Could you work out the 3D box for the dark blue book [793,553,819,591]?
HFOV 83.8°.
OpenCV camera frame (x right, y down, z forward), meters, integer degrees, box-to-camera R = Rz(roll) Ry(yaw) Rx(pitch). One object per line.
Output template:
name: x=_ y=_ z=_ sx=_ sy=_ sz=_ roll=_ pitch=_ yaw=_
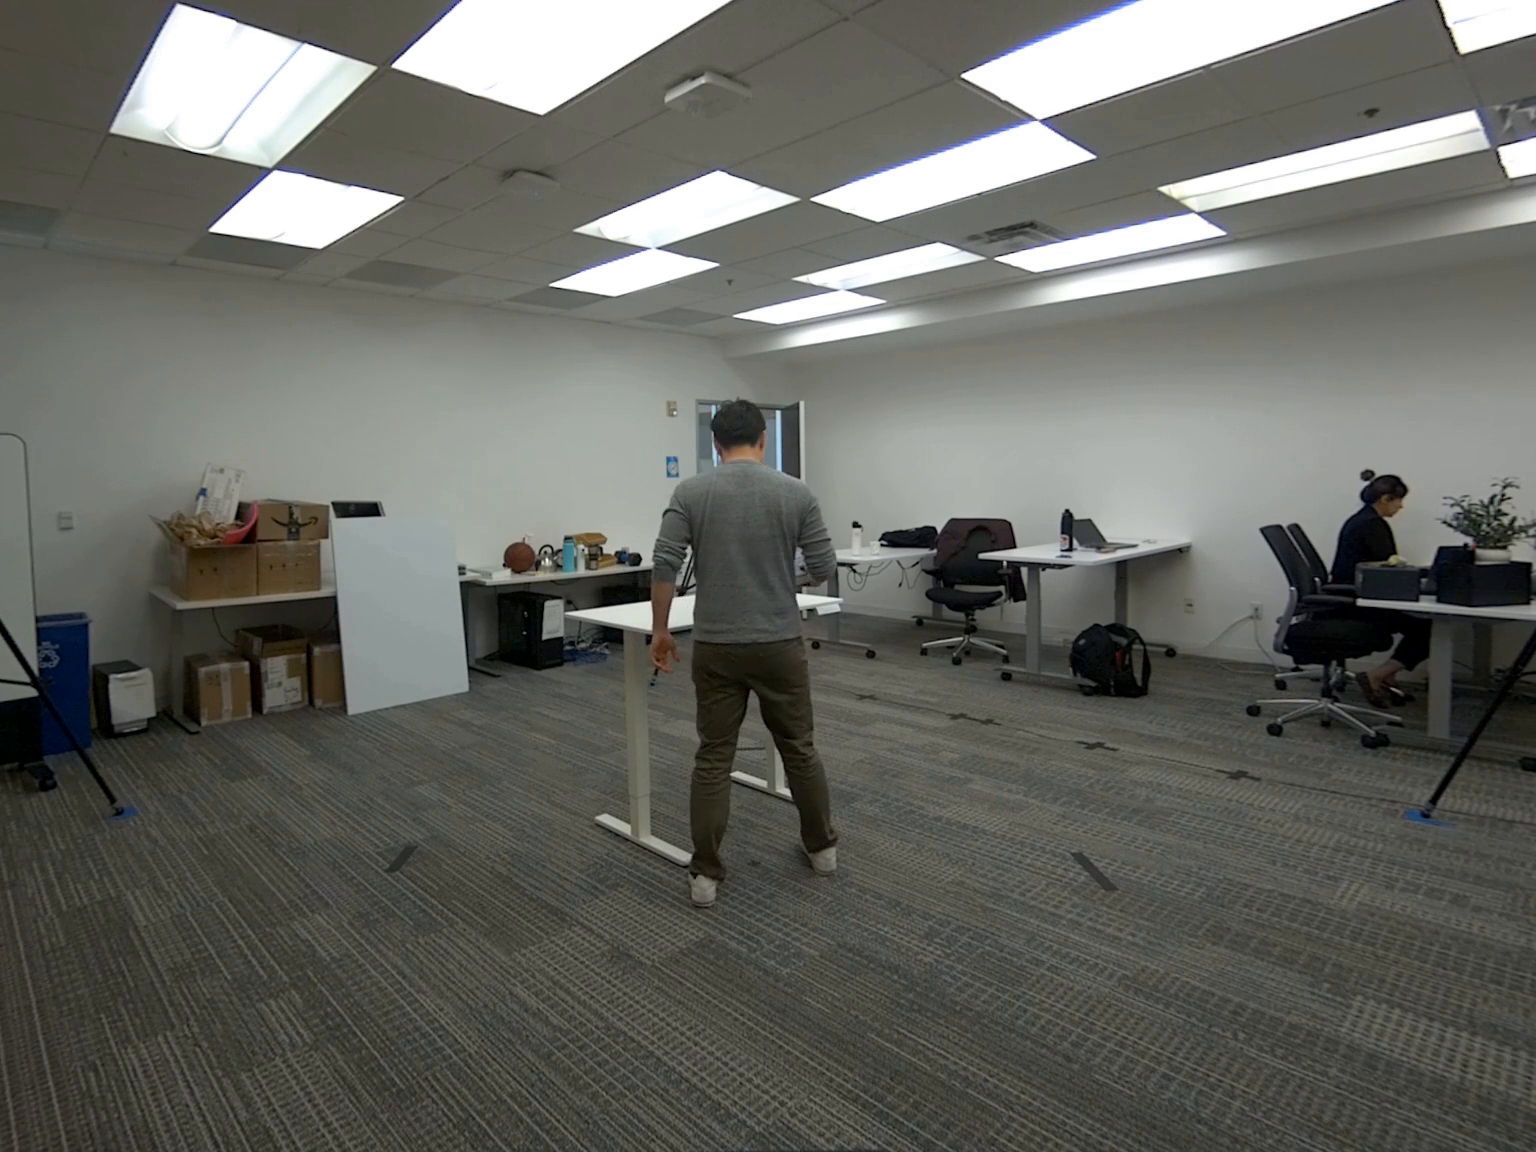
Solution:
dark blue book: x=0.116 y=-0.034 z=3.264 sx=0.165 sy=0.044 sz=0.249 roll=-18 pitch=24 yaw=15
